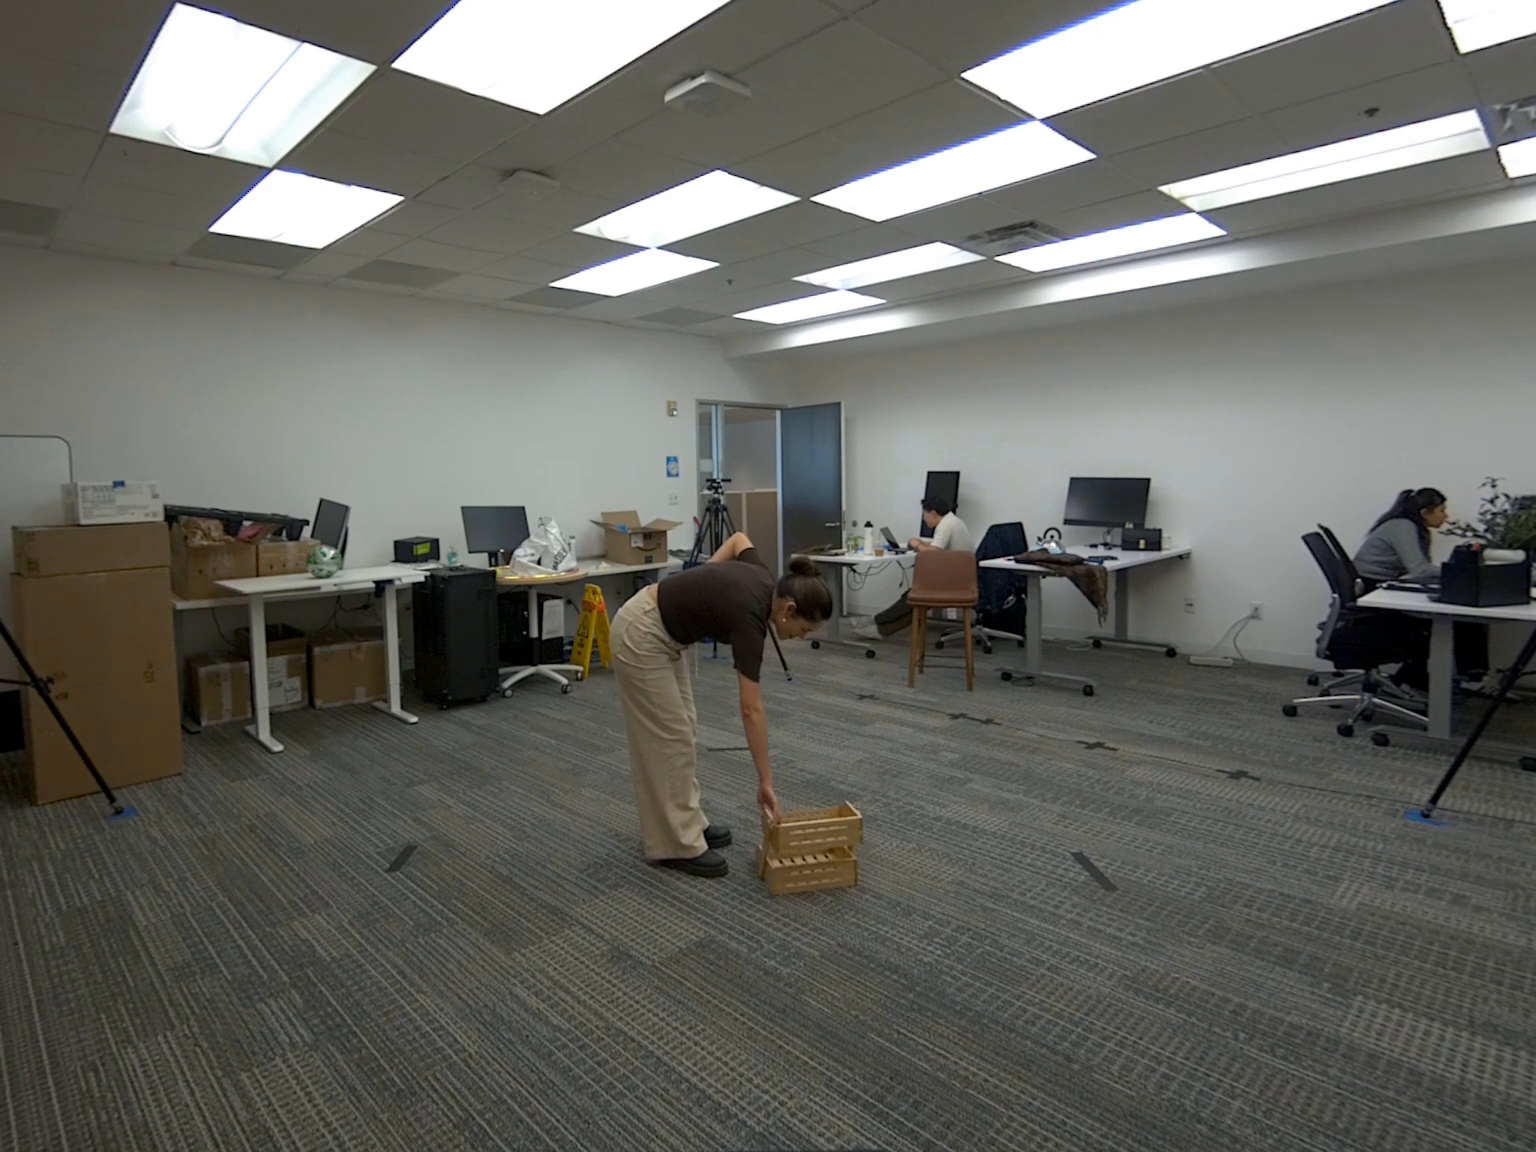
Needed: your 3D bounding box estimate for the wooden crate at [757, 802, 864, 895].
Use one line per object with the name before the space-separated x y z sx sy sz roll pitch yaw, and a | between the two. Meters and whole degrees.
wooden crate | 0.135 0.918 2.978 0.320 0.272 0.307 -3 6 -14
